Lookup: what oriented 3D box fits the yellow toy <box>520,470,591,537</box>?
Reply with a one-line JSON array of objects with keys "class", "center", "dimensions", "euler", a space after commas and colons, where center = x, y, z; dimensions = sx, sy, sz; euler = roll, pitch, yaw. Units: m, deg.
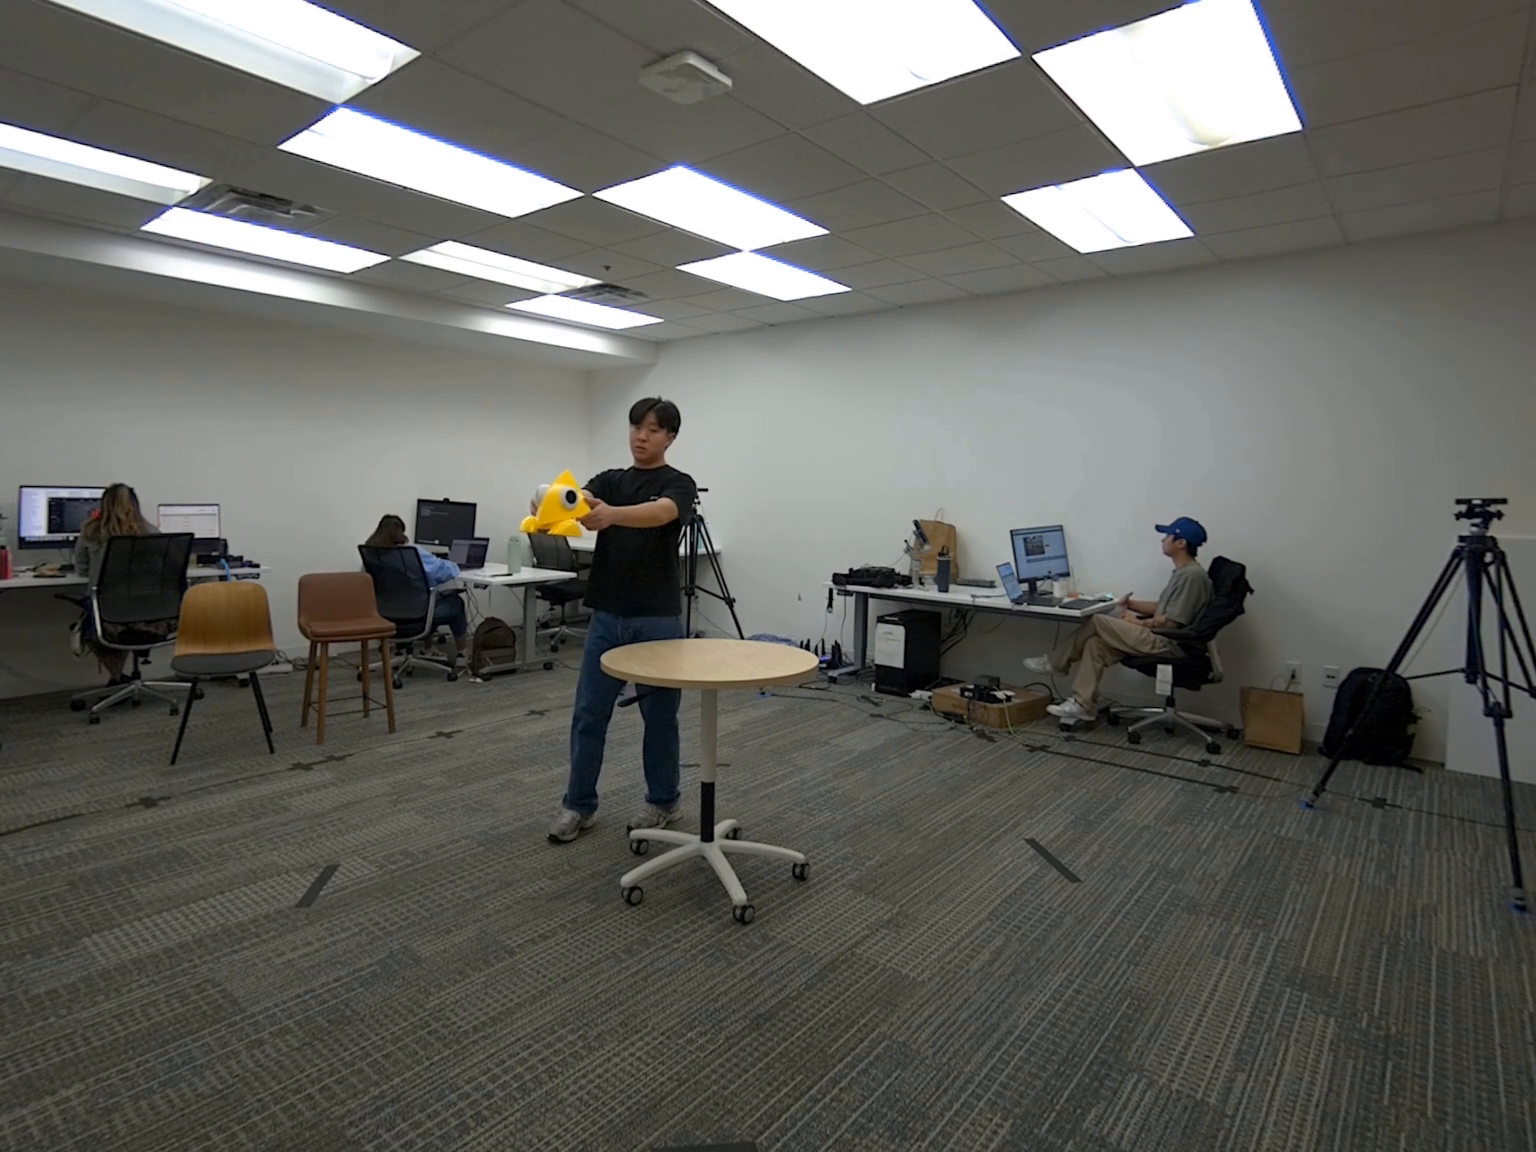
[{"class": "yellow toy", "center": [-0.726, -0.257, 2.878], "dimensions": [0.209, 0.231, 0.189], "euler": [5, -1, 17]}]
